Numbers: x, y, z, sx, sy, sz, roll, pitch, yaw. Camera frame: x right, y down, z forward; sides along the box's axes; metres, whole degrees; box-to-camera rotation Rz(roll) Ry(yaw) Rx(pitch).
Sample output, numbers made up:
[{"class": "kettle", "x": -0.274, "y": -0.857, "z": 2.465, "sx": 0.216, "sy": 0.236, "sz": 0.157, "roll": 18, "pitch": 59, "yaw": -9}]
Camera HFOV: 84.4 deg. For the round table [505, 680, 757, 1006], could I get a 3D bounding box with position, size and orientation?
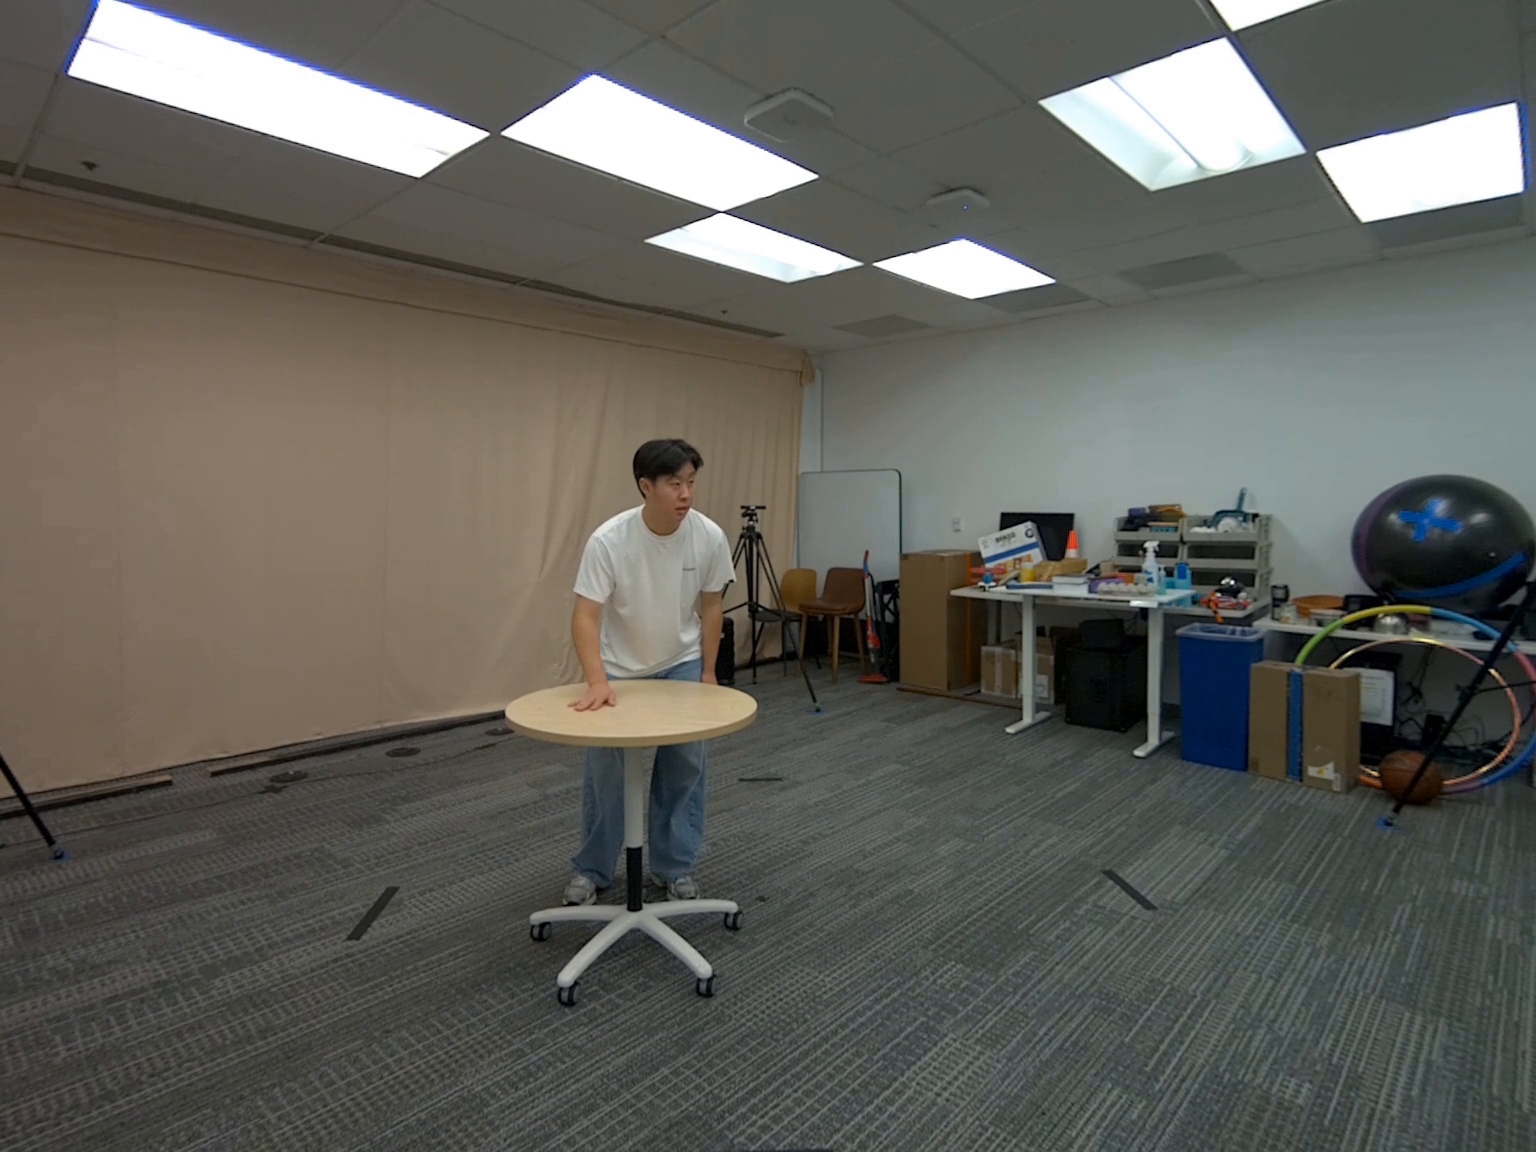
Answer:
[{"class": "round table", "x": -0.403, "y": 0.786, "z": 2.610, "sx": 0.763, "sy": 0.792, "sz": 0.766, "roll": 0, "pitch": 4, "yaw": -2}]
